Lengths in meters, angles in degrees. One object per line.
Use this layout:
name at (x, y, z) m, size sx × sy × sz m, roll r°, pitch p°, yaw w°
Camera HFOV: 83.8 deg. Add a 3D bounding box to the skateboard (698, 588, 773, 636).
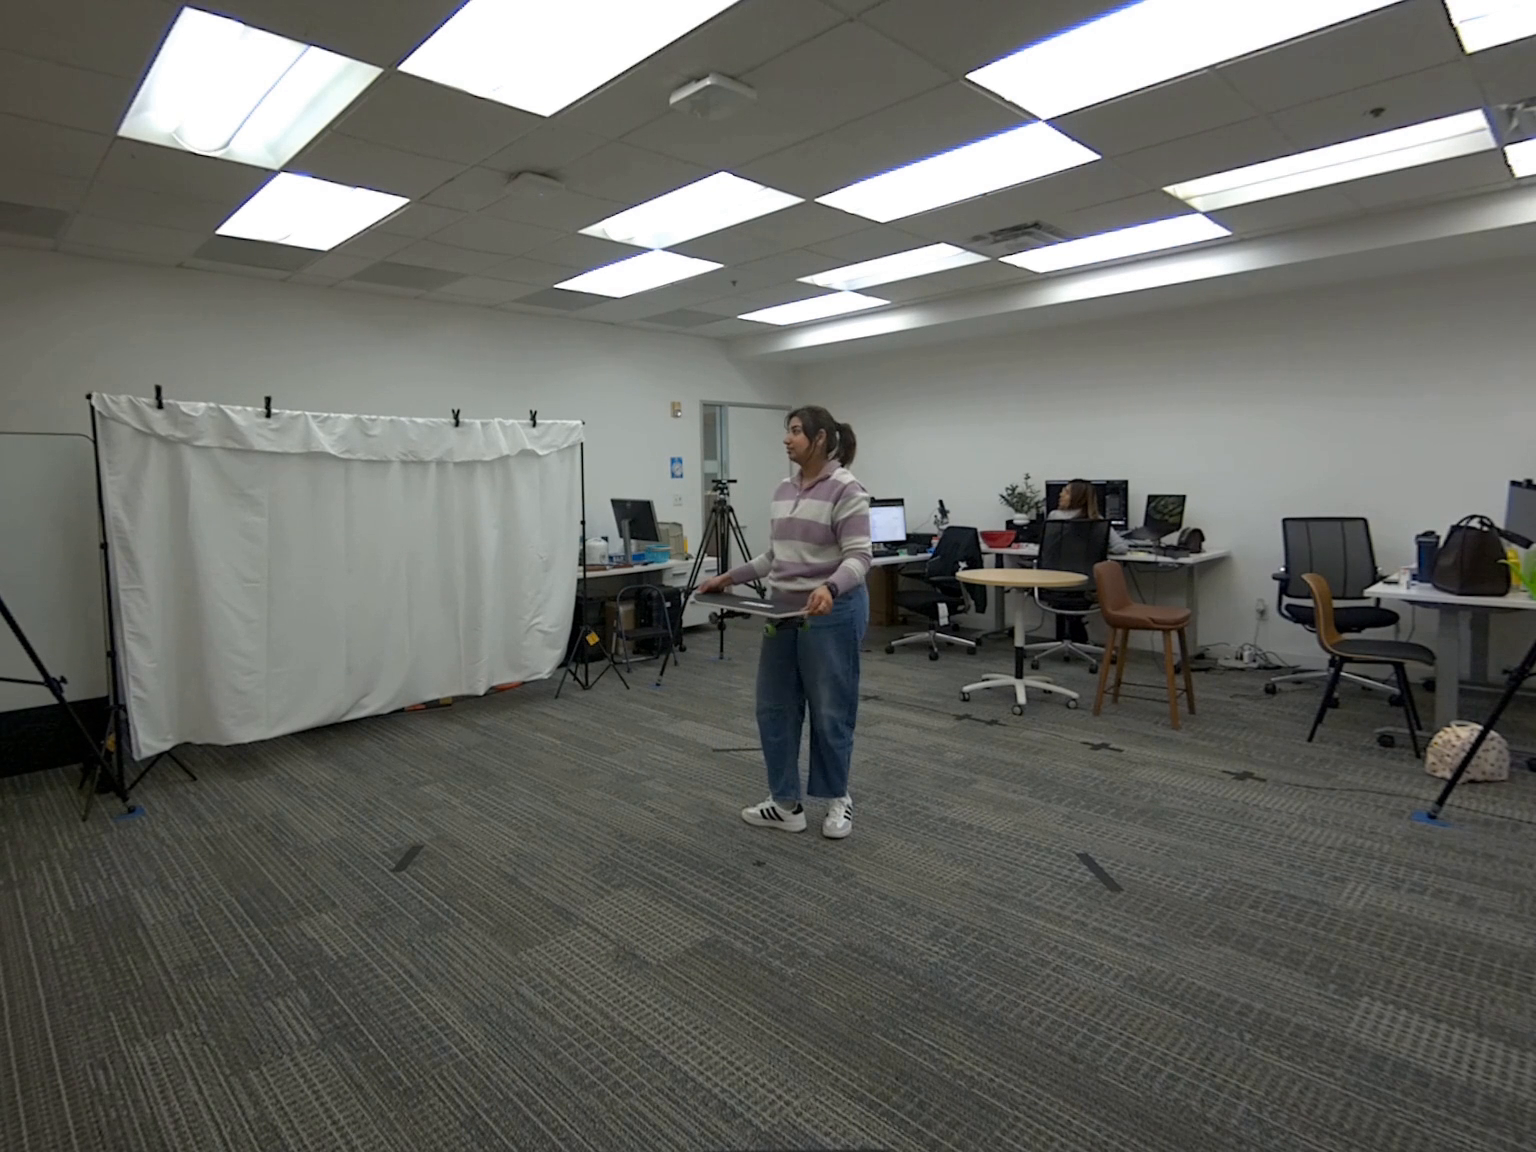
skateboard at (-0.003, 0.145, 3.275) m, size 0.189 × 0.110 × 0.807 m, roll -3°, pitch 6°, yaw -31°
